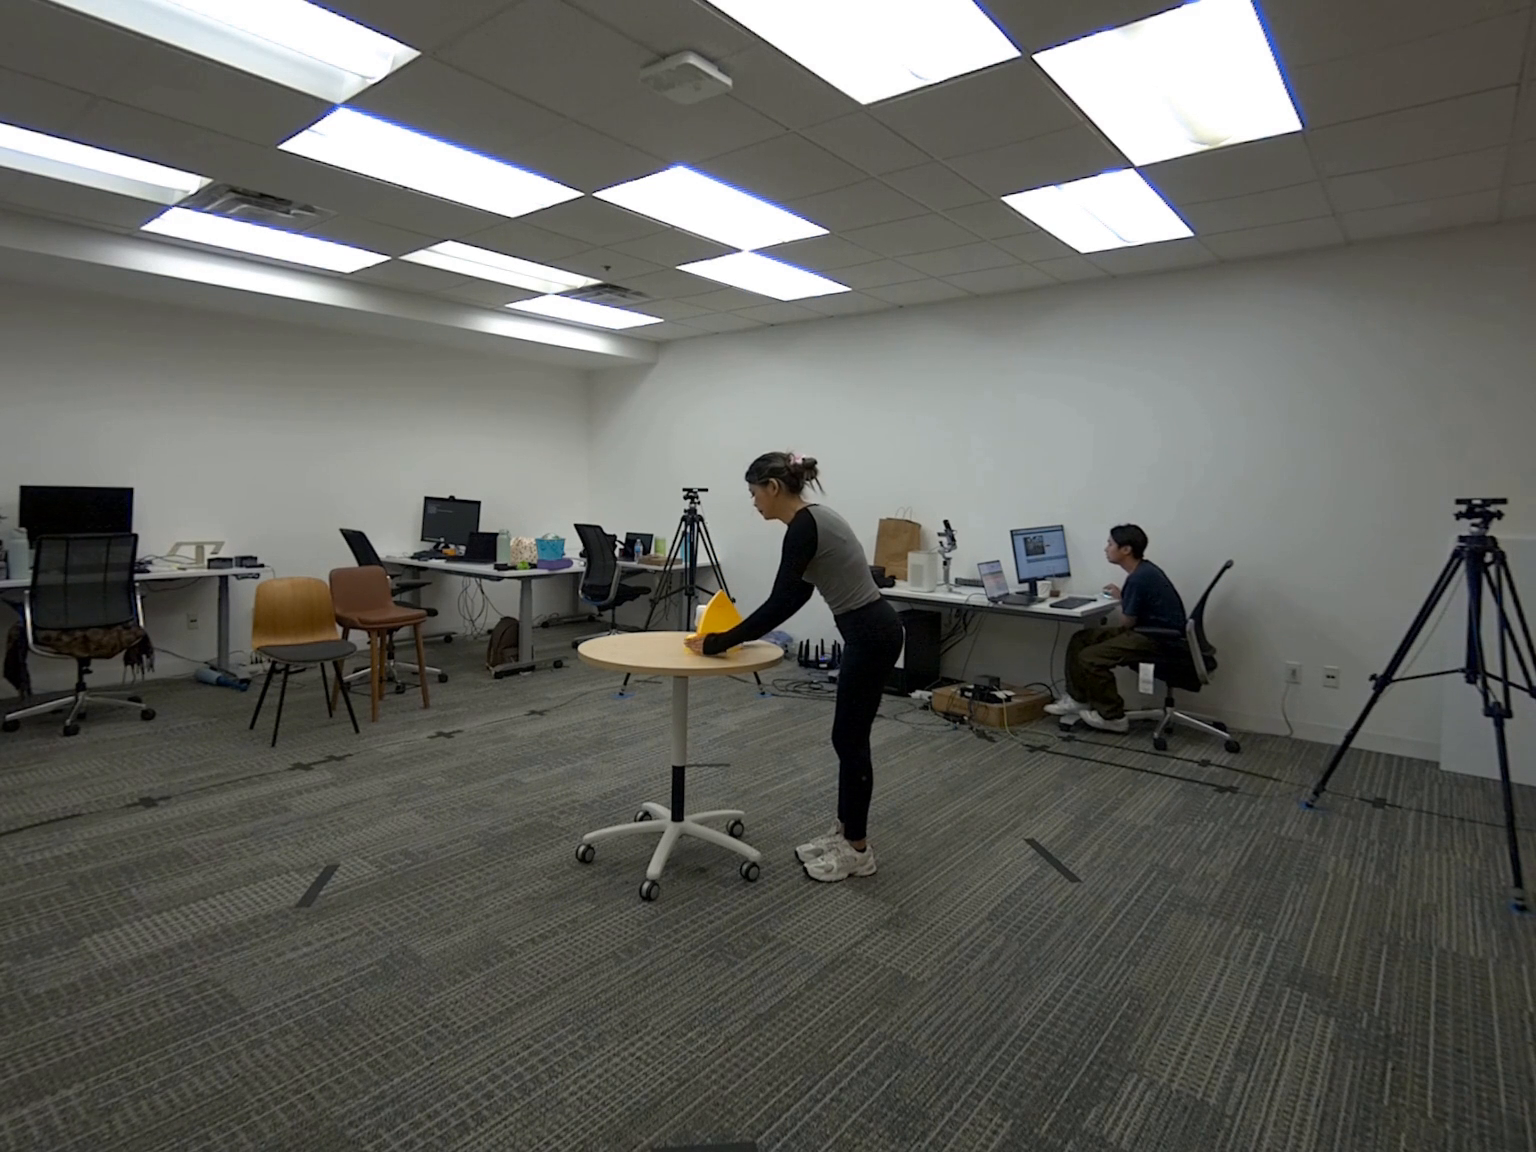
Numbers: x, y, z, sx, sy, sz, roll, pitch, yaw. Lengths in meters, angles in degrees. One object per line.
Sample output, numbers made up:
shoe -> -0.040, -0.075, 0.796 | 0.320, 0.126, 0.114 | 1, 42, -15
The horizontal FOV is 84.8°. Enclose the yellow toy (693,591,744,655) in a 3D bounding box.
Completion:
yellow toy -> -0.216, 0.157, 3.169 | 0.199, 0.230, 0.199 | 0, 5, -31
